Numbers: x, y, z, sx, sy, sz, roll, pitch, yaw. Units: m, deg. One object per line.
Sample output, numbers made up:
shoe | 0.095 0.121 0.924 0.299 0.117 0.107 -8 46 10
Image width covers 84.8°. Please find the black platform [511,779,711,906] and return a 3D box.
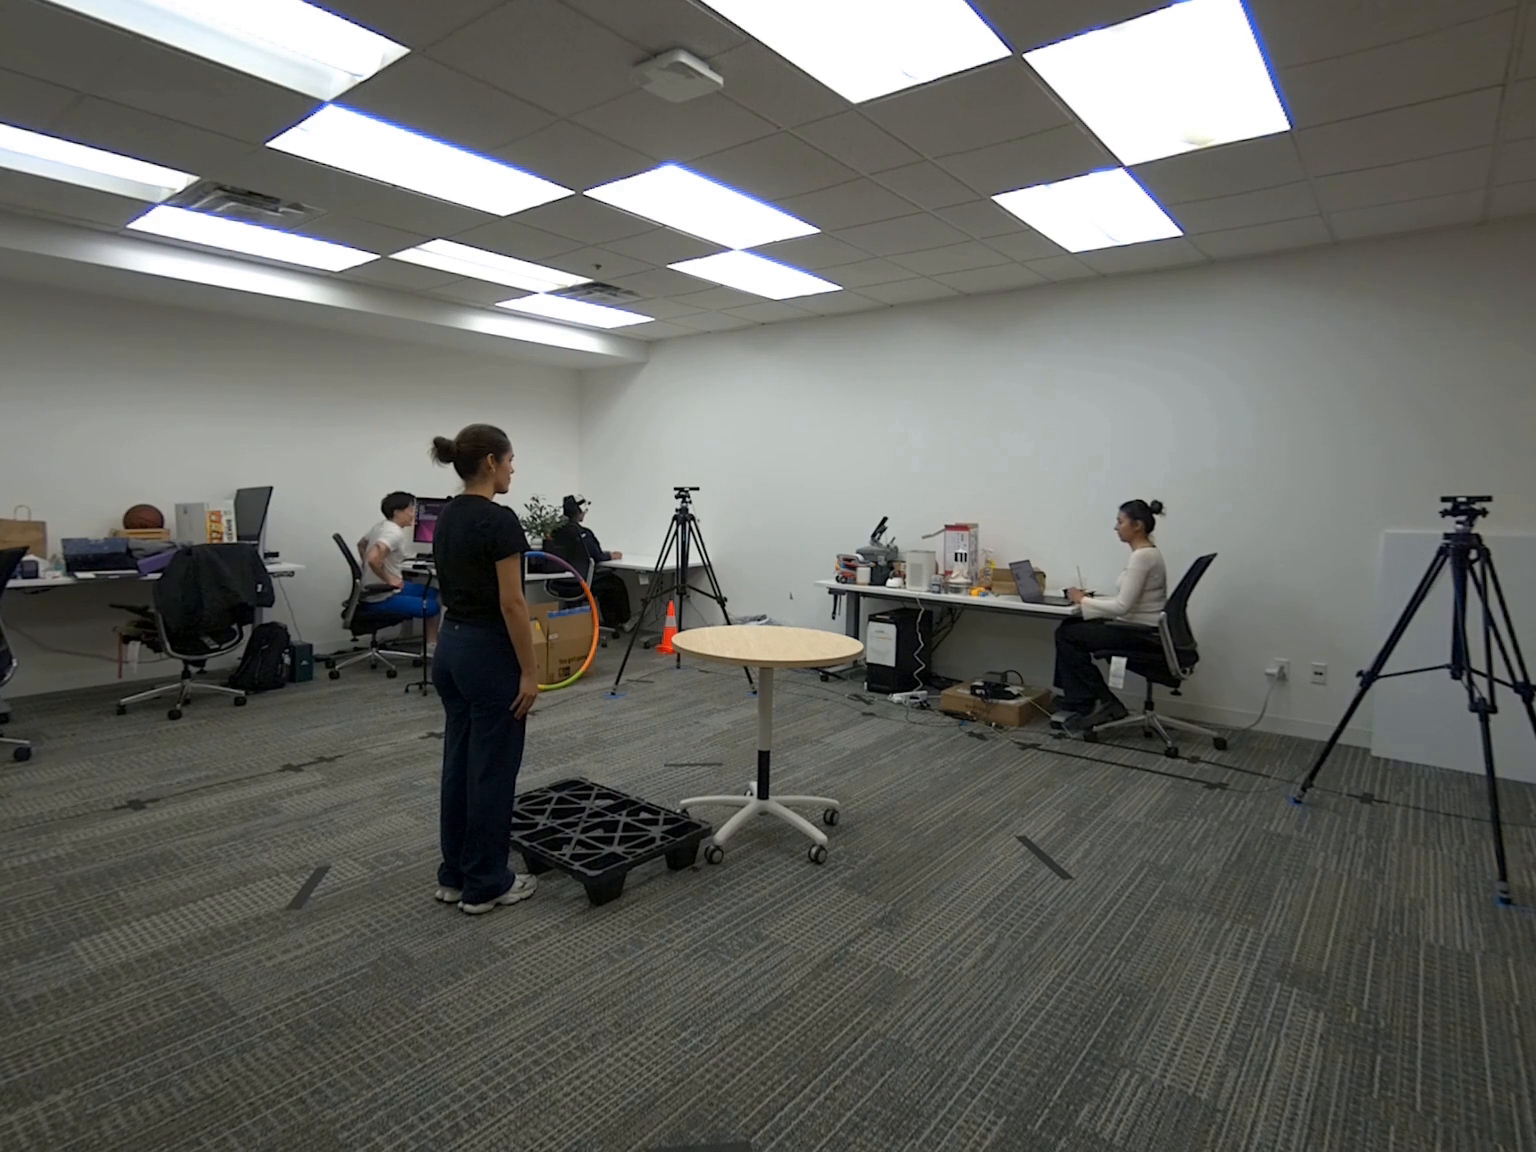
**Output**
black platform | -0.684 0.982 3.235 0.832 0.143 0.588 5 7 40
